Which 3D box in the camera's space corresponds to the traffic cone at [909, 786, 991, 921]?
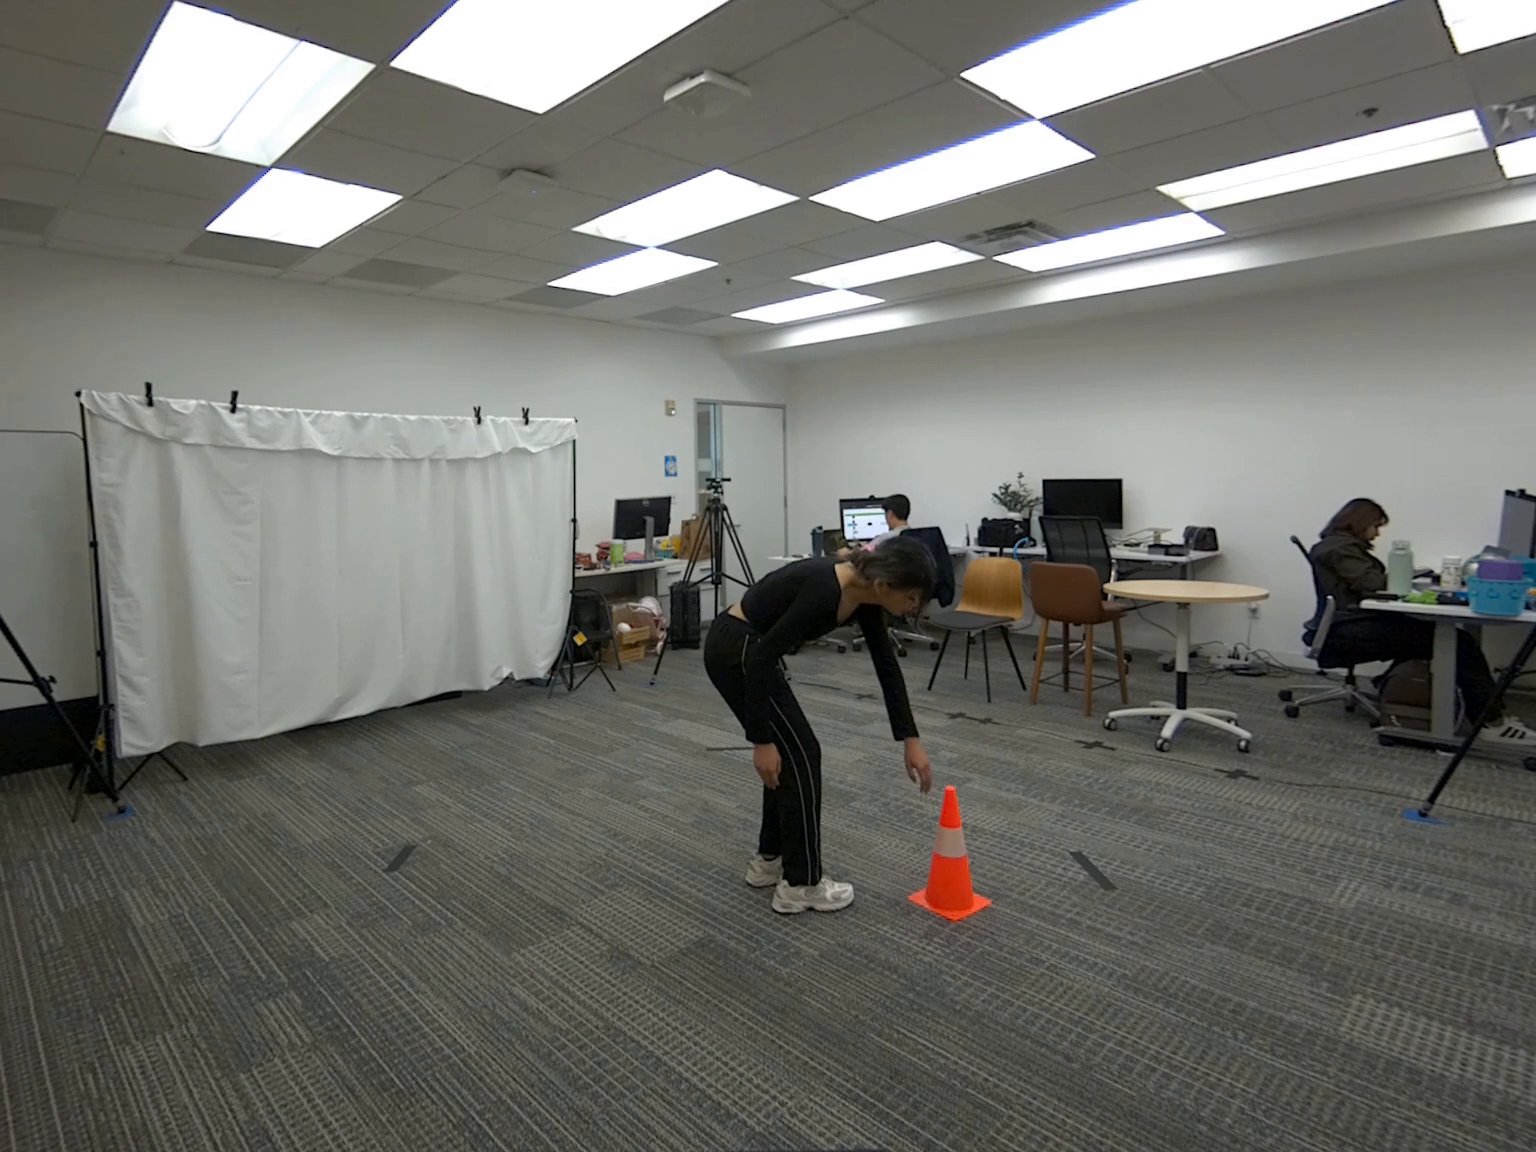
[{"bbox_3d":[0.601,0.878,2.785,0.200,0.382,0.209,-7,5,-40],"label":"traffic cone"}]
